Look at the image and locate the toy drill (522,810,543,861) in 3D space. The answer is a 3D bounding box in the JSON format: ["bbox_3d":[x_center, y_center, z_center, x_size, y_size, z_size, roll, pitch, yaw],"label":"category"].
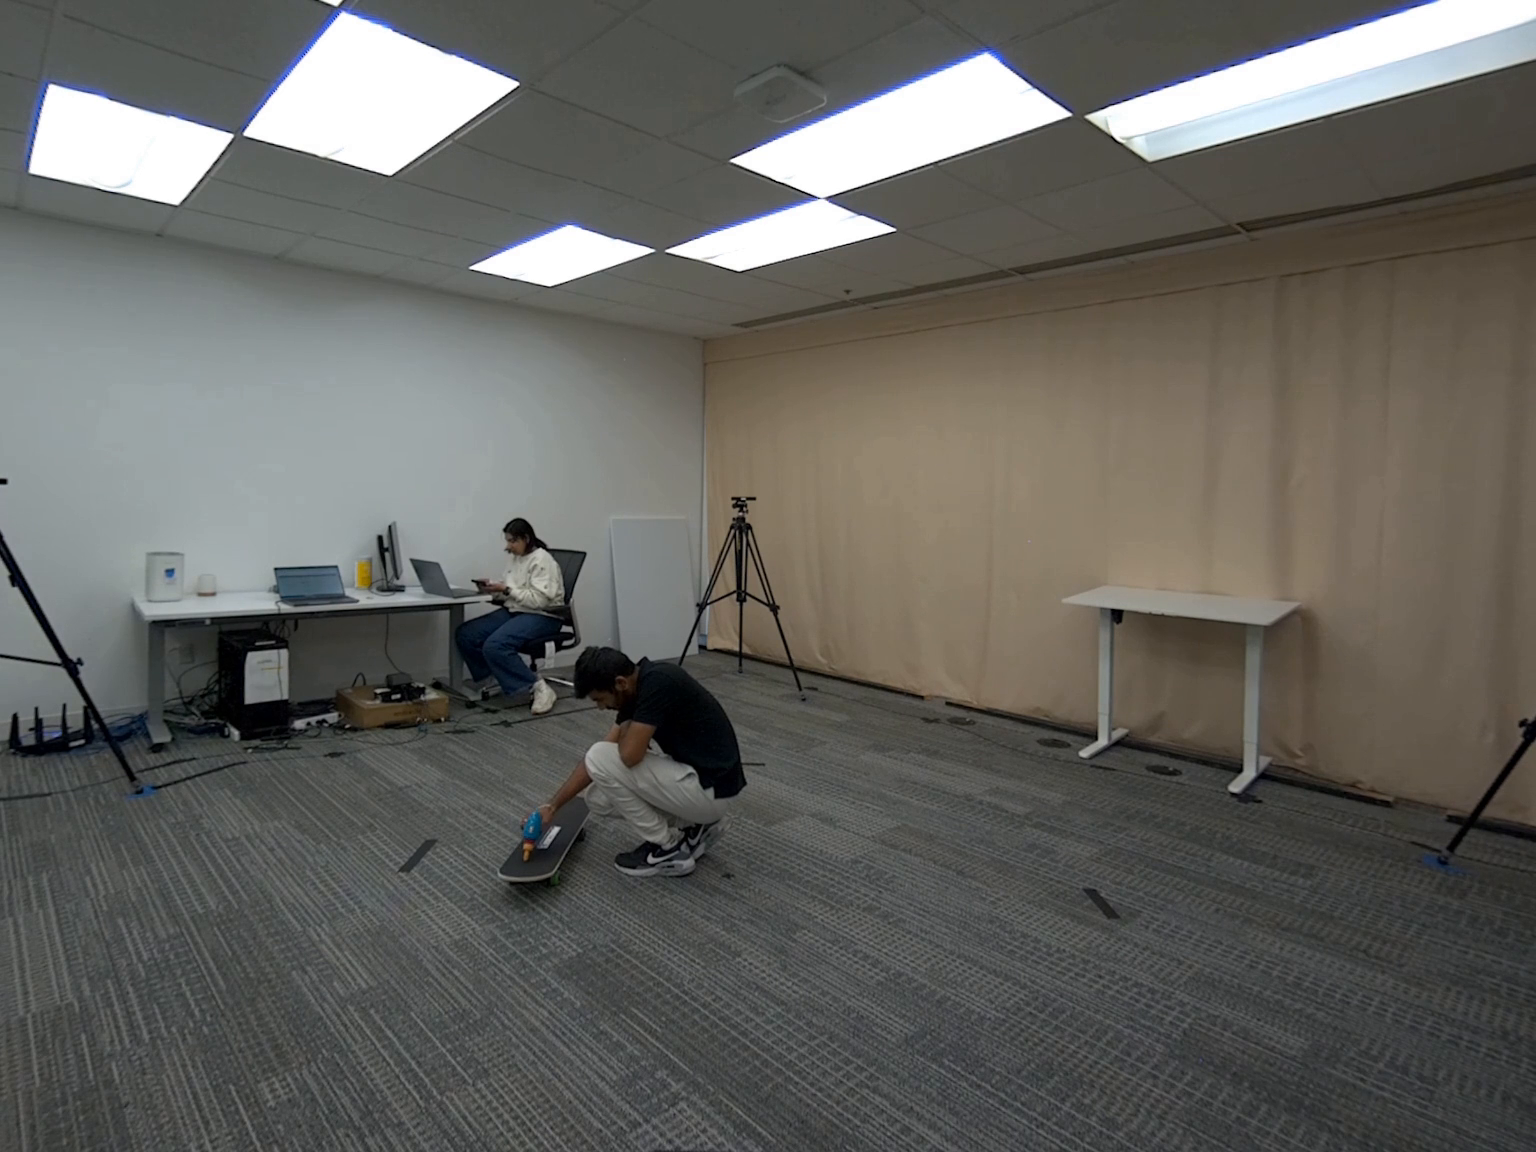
[{"bbox_3d":[-0.859,0.939,3.053,0.061,0.172,0.143,7,-27,5],"label":"toy drill"}]
